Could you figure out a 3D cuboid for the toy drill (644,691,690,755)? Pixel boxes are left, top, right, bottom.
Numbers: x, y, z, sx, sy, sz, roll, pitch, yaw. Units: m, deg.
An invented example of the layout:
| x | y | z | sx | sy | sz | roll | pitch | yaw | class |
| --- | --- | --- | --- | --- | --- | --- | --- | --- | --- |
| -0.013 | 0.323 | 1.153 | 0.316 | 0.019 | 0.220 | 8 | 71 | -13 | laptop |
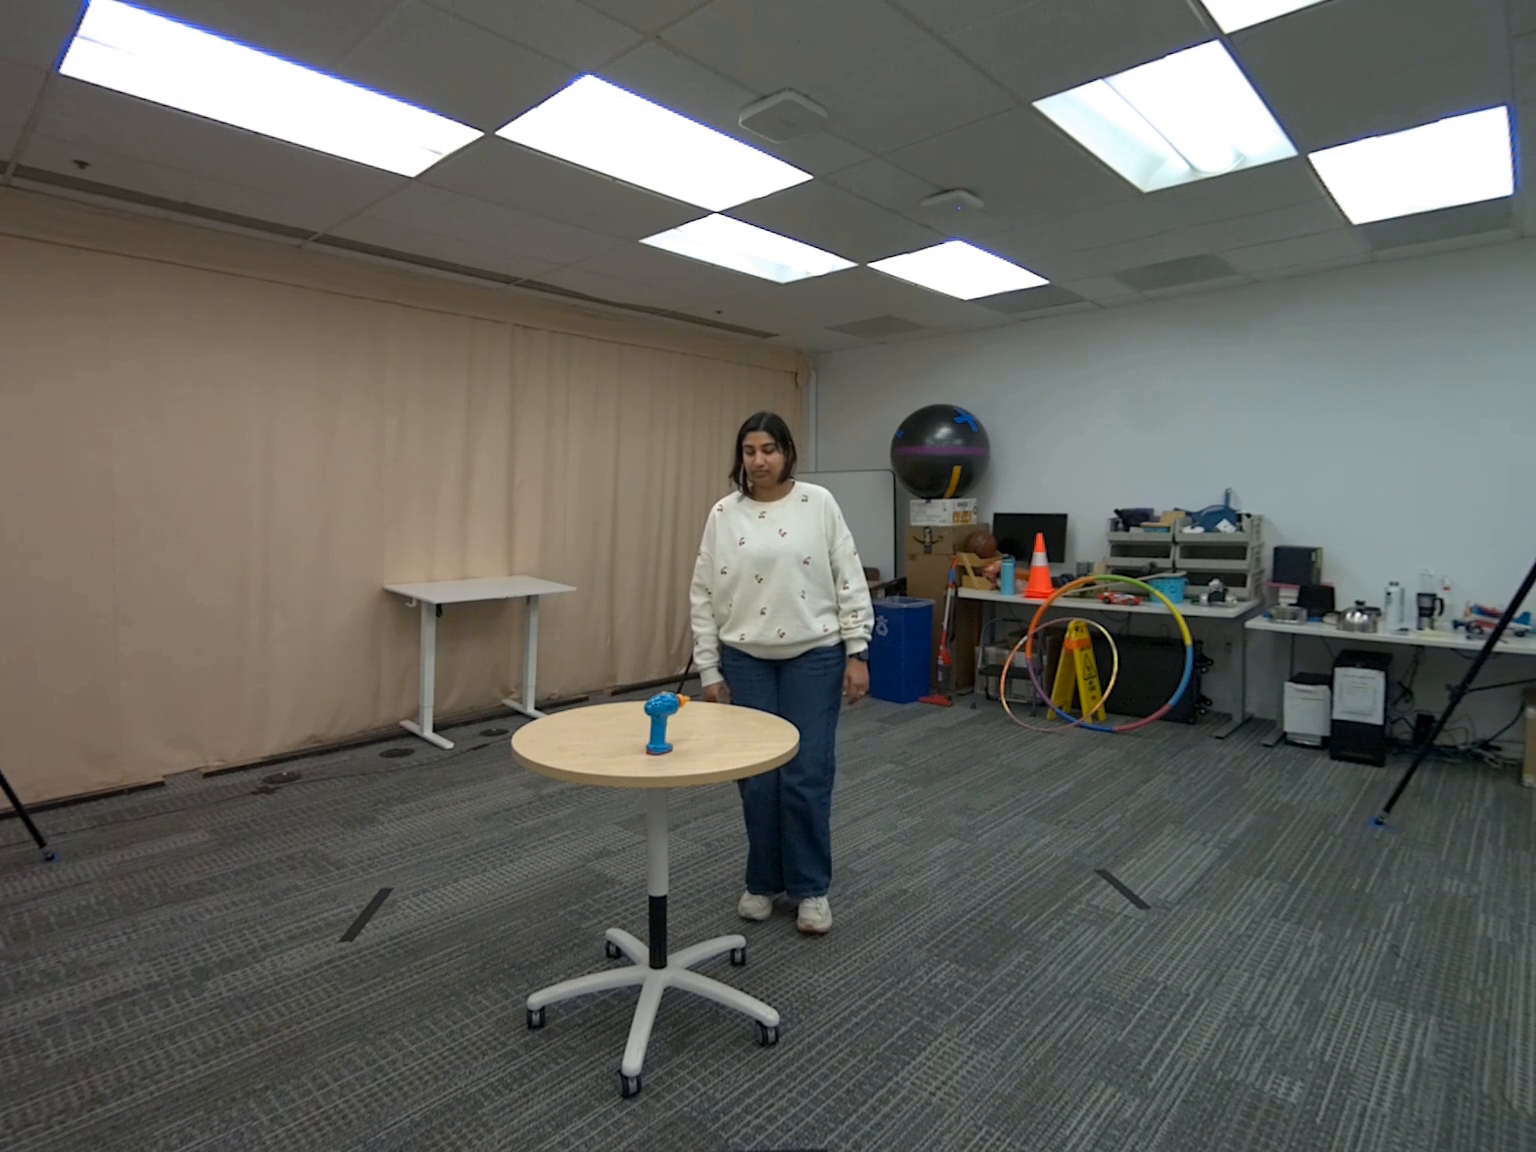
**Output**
| x | y | z | sx | sy | sz | roll | pitch | yaw | class |
| --- | --- | --- | --- | --- | --- | --- | --- | --- | --- |
| -0.254 | 0.360 | 2.112 | 0.063 | 0.146 | 0.165 | 2 | 4 | 28 | toy drill |
